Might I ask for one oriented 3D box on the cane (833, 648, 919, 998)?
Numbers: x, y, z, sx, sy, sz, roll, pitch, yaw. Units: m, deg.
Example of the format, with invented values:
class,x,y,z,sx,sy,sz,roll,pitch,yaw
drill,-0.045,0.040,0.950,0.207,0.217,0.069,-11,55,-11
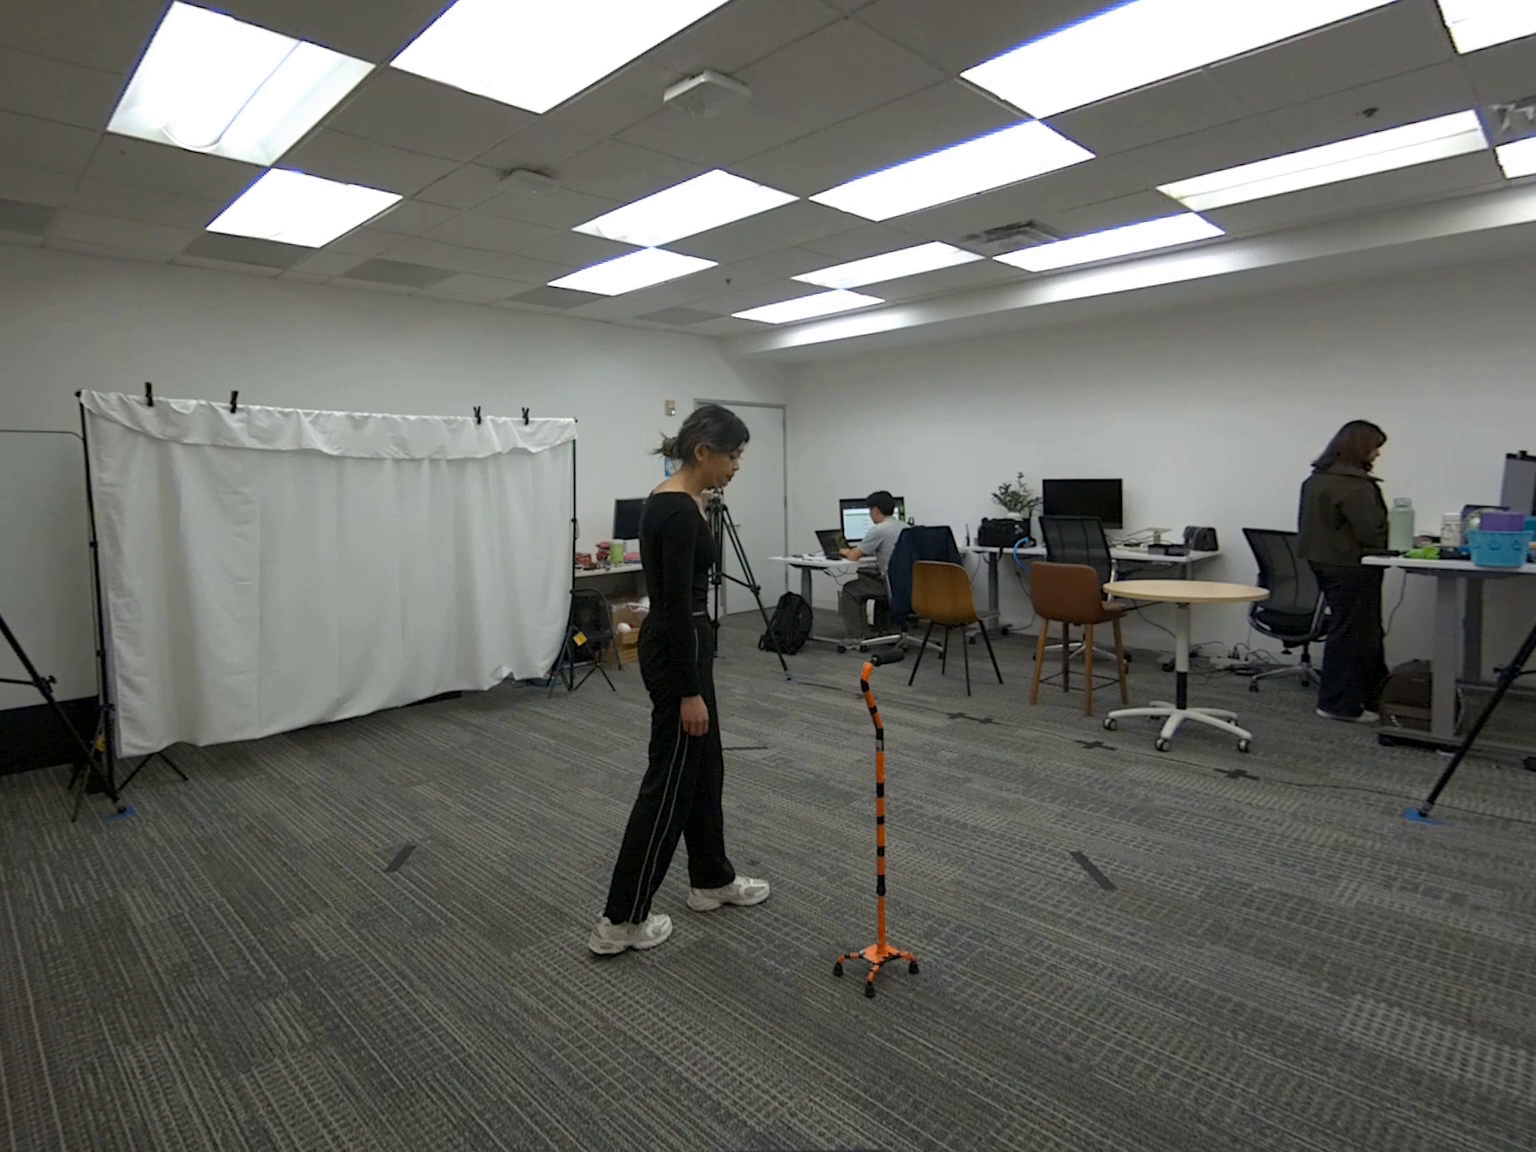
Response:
class,x,y,z,sx,sy,sz,roll,pitch,yaw
cane,0.297,0.661,2.382,0.201,0.904,0.156,-4,5,-38
